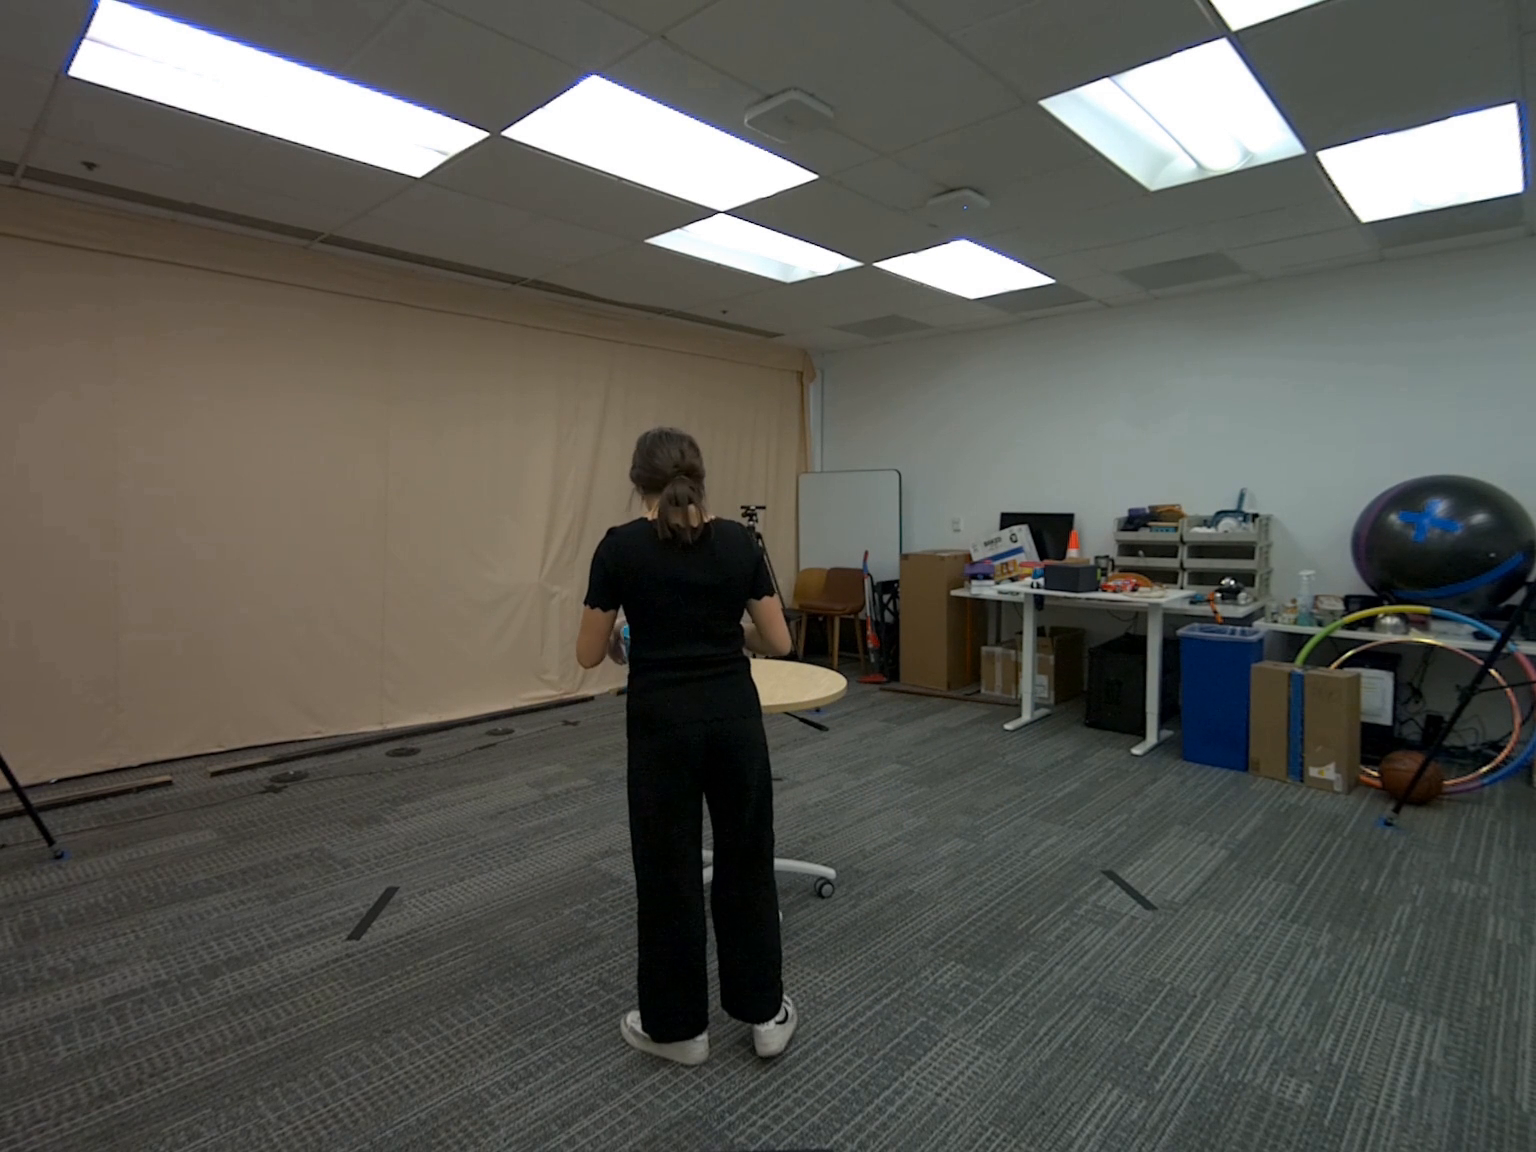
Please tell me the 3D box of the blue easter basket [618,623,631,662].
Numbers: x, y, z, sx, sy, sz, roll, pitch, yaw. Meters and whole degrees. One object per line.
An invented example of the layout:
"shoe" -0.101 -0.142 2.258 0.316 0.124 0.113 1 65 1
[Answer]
"blue easter basket" -0.308 0.241 2.379 0.243 0.155 0.245 3 9 -2
